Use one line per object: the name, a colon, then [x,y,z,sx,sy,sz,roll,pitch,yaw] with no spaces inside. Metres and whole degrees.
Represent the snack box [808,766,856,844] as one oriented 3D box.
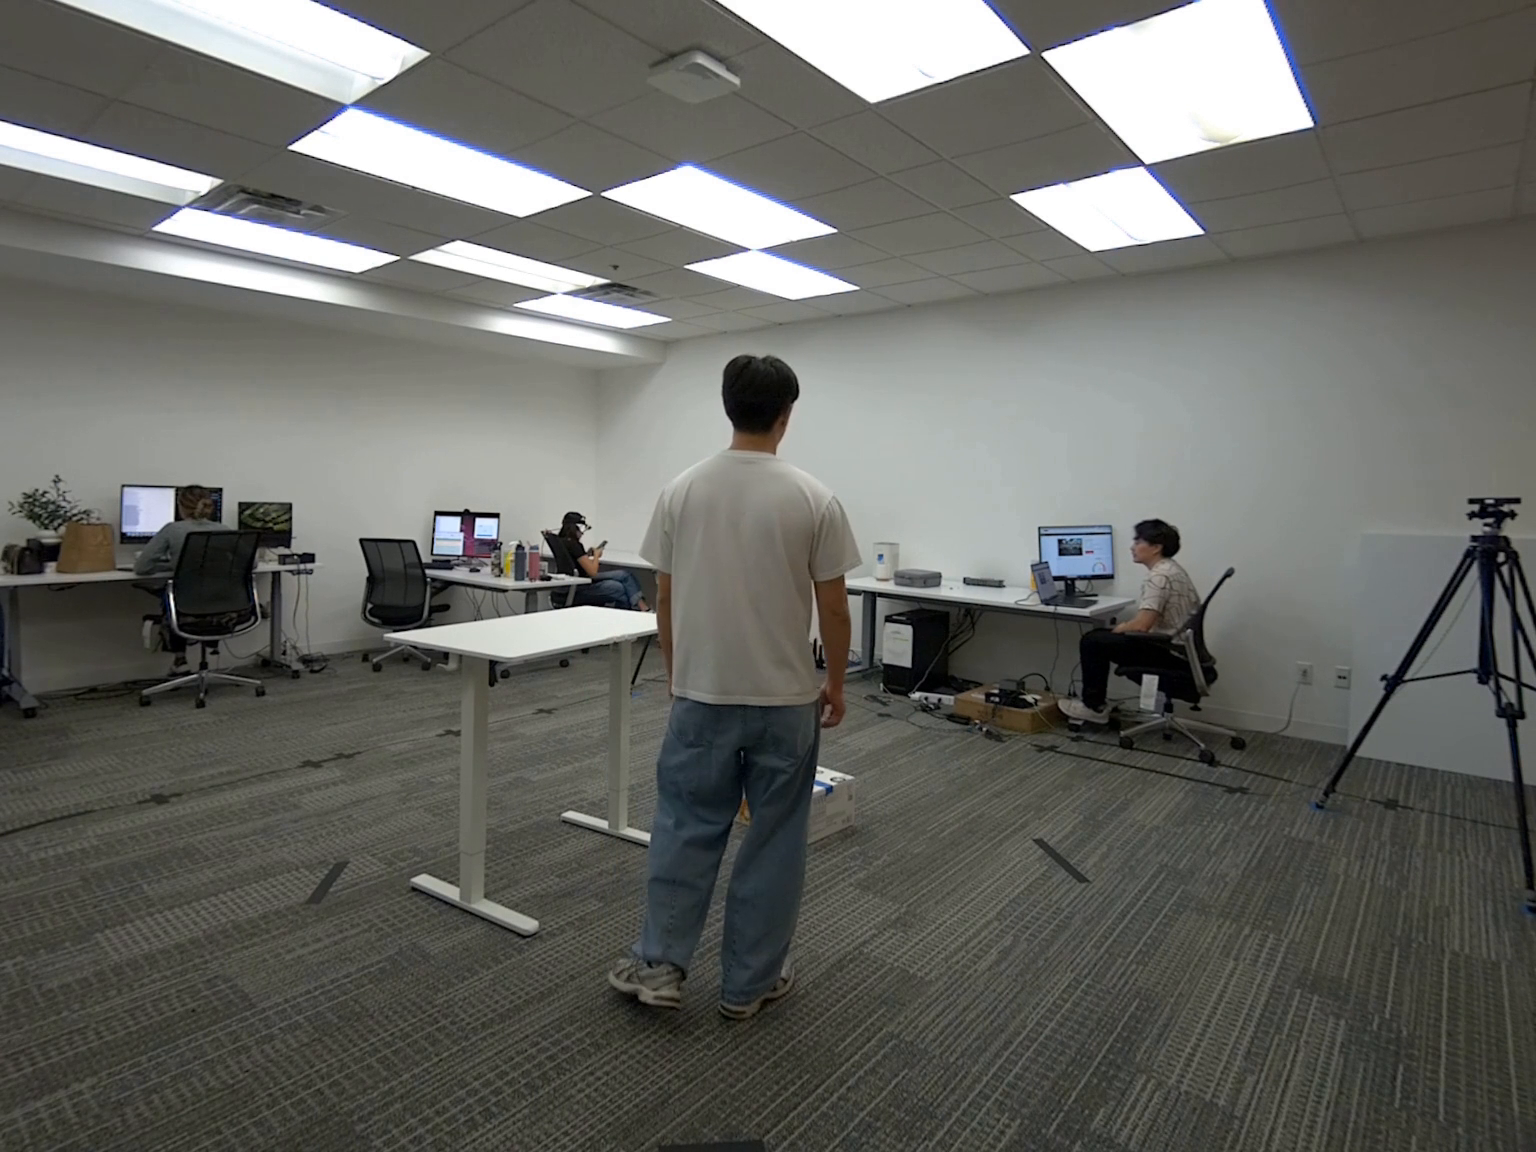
snack box: [0.089,0.924,3.553,0.419,0.205,0.330,6,7,43]
